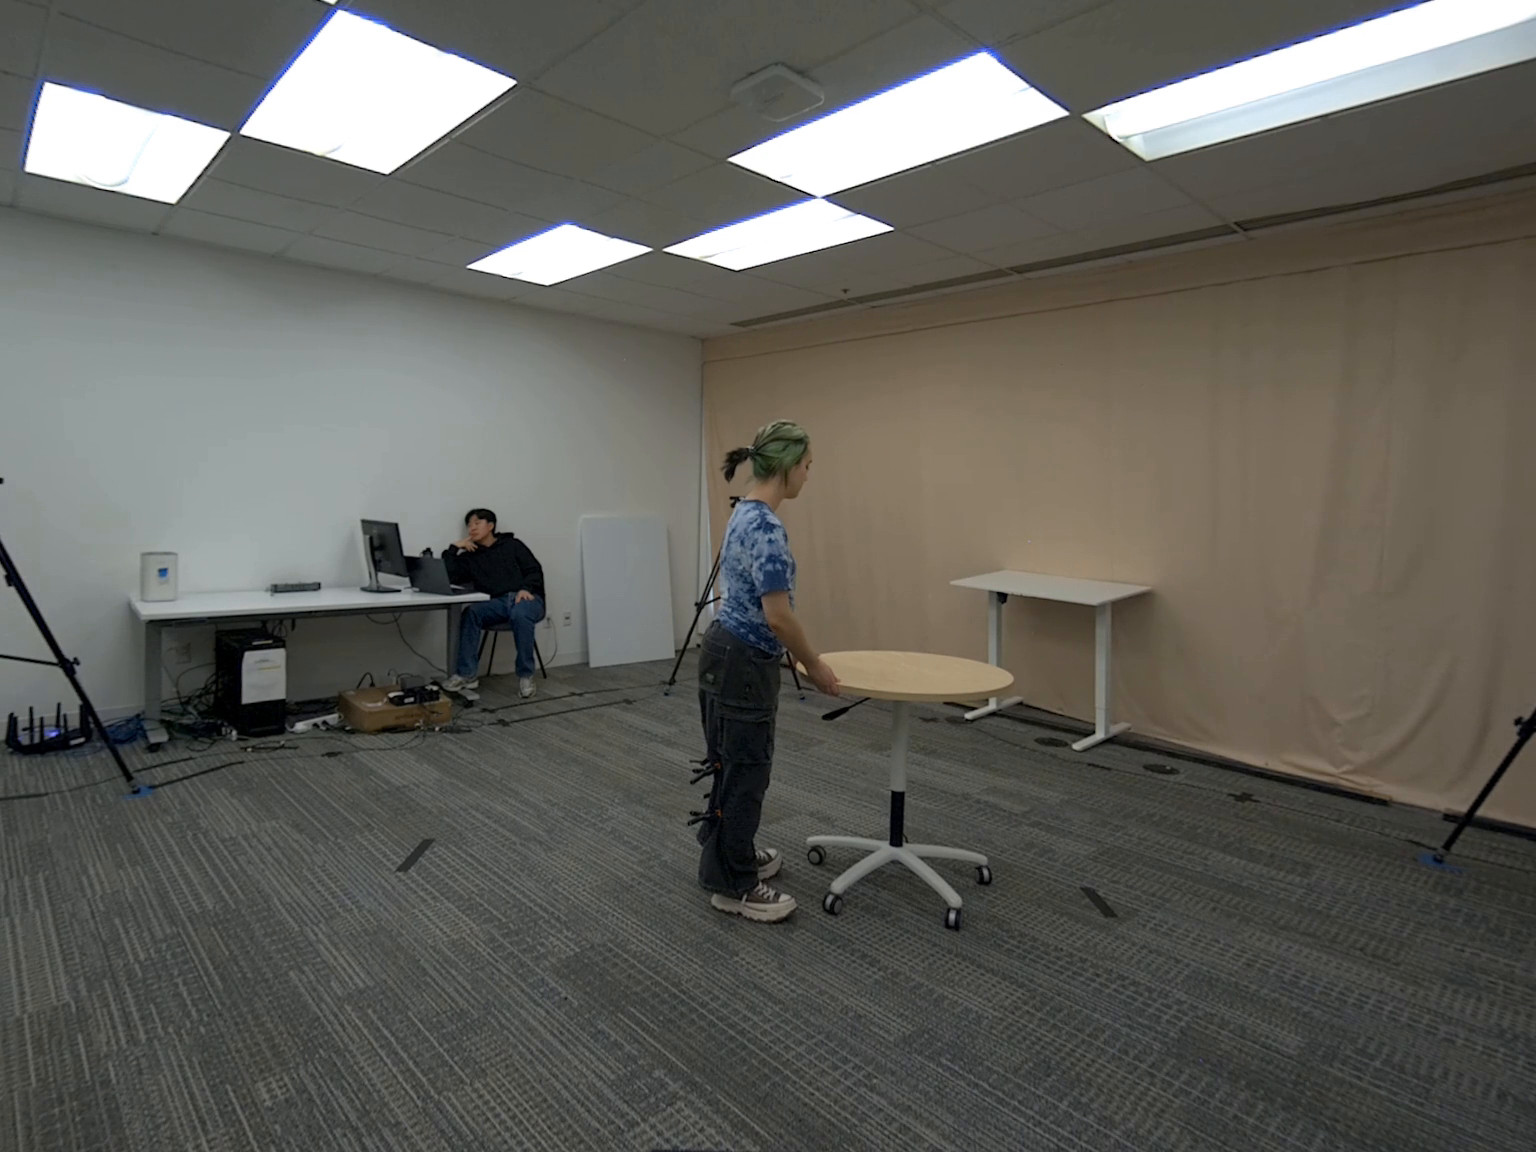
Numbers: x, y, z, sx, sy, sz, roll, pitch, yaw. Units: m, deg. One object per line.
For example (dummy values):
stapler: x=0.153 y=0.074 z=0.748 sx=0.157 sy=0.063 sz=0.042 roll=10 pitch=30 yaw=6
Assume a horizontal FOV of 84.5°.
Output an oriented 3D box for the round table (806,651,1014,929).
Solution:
round table: x=0.464 y=0.731 z=3.057 sx=0.763 sy=0.792 sz=0.766 roll=2 pitch=4 yaw=-1
